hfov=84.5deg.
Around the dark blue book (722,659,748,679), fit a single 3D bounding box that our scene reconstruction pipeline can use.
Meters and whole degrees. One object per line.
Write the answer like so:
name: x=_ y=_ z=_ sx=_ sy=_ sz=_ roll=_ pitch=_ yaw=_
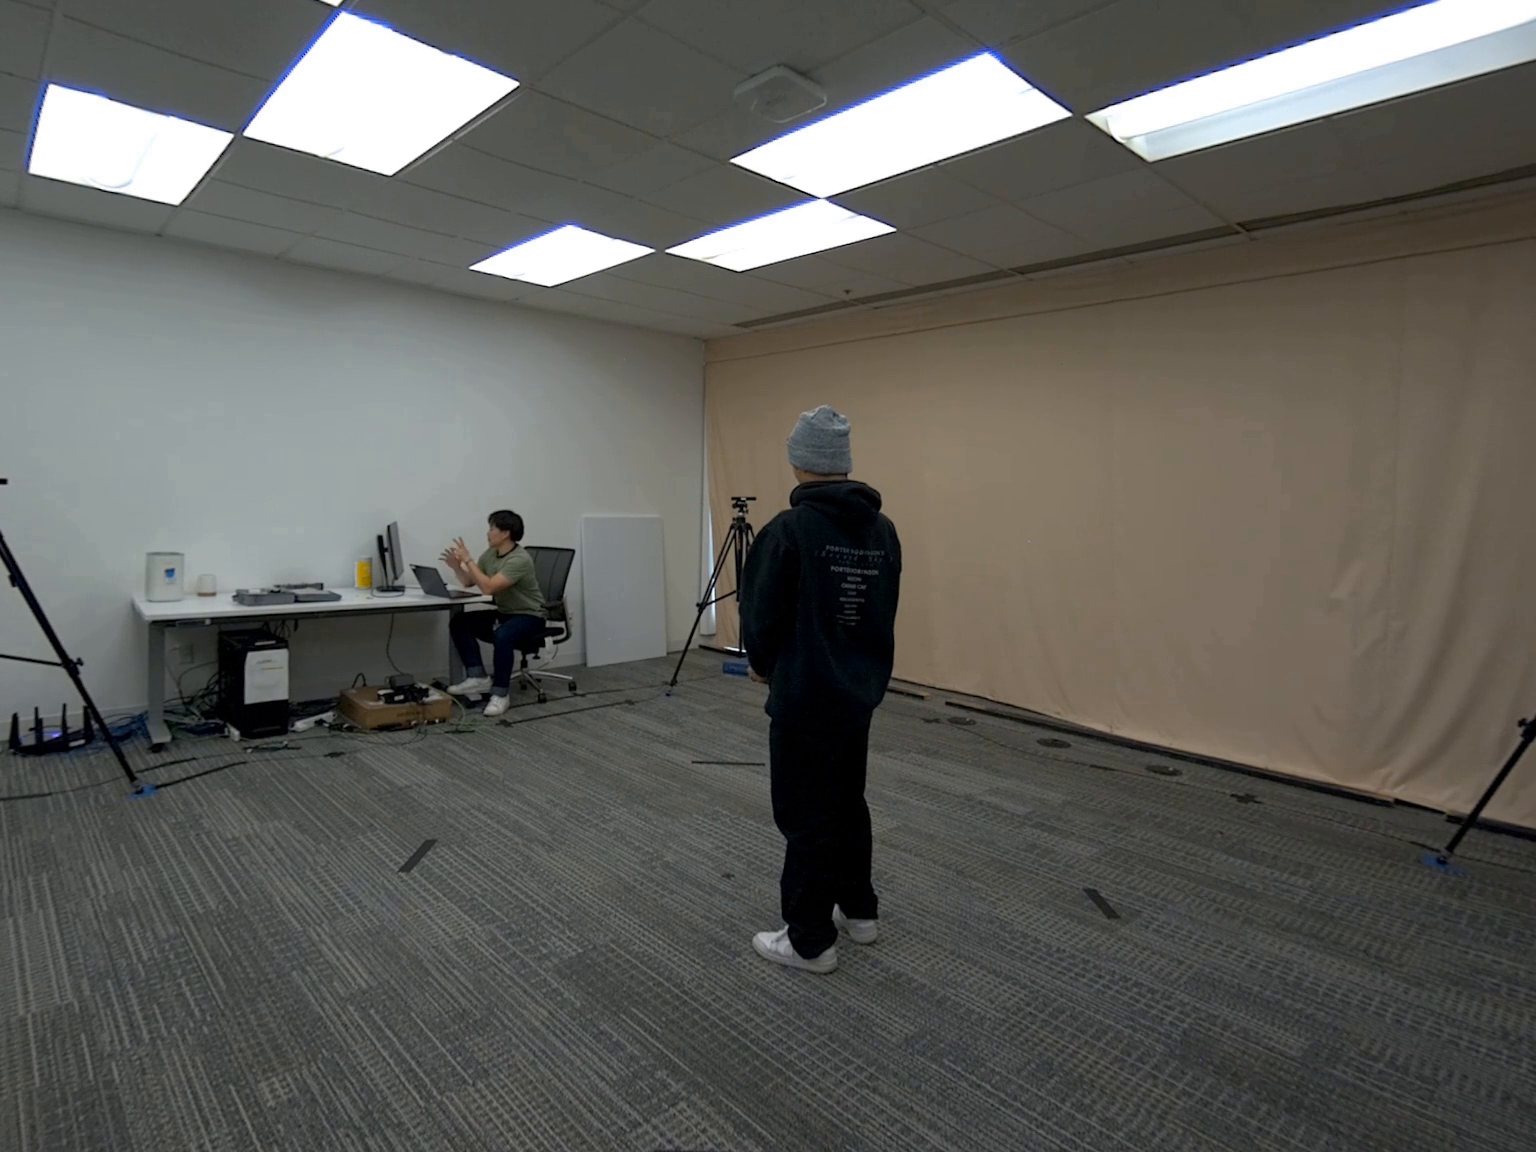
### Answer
dark blue book: x=-0.027 y=0.315 z=2.840 sx=0.160 sy=0.045 sz=0.251 roll=-5 pitch=3 yaw=-38
